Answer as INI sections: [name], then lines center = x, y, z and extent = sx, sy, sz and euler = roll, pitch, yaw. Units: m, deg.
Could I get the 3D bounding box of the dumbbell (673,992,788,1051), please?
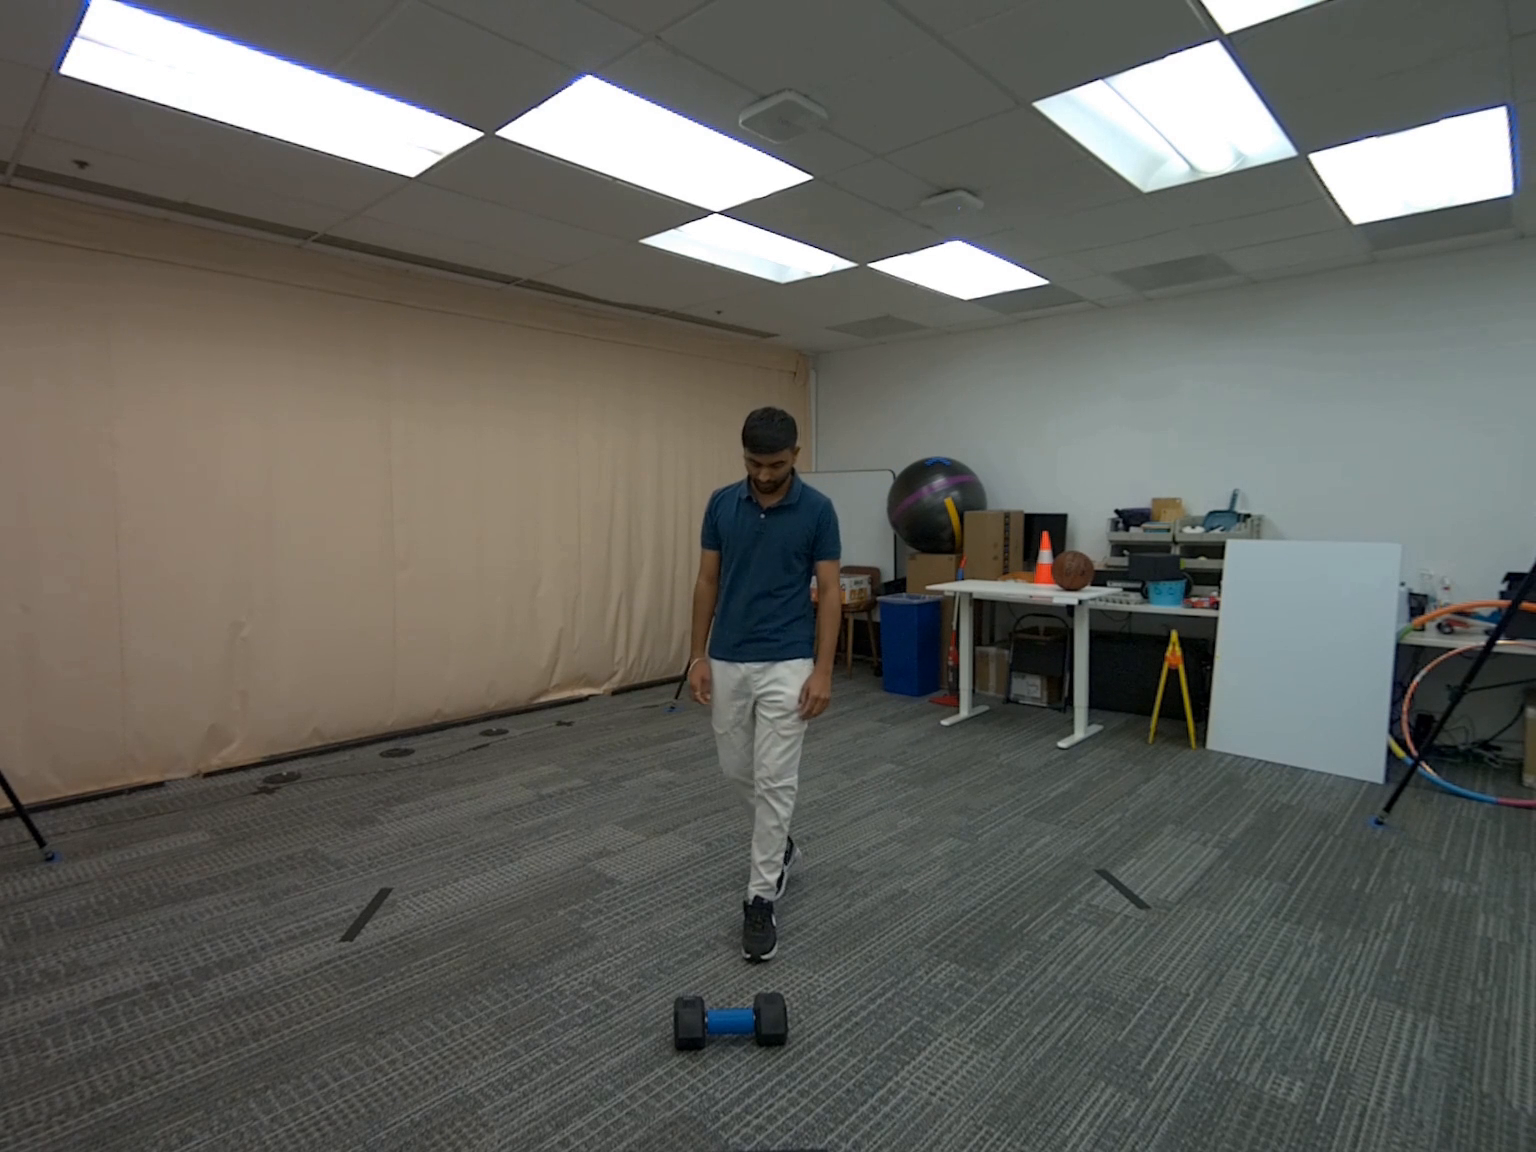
[dumbbell]
center = -0.099, 1.159, 2.186
extent = 0.292, 0.125, 0.107
euler = 0, -27, -4
